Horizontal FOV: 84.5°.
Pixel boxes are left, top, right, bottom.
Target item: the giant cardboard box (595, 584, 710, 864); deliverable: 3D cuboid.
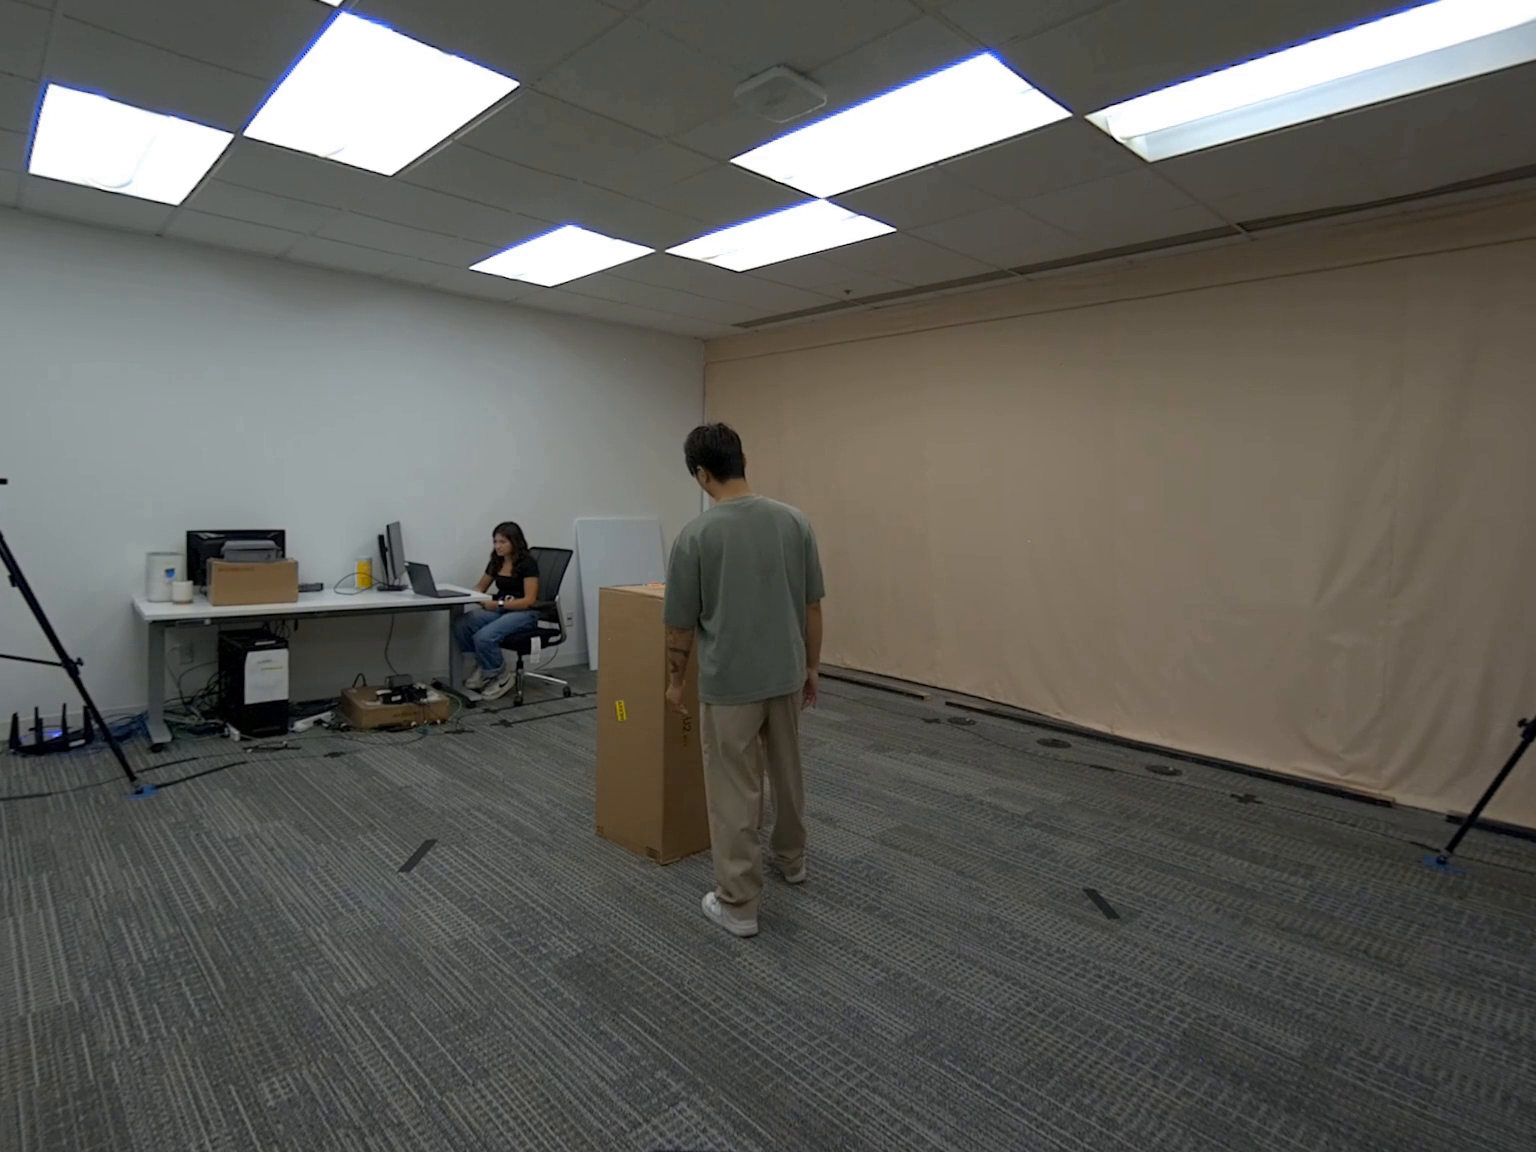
[{"bbox_3d":[-0.368,0.558,3.507,0.437,1.024,0.564,4,4,43],"label":"giant cardboard box"}]
